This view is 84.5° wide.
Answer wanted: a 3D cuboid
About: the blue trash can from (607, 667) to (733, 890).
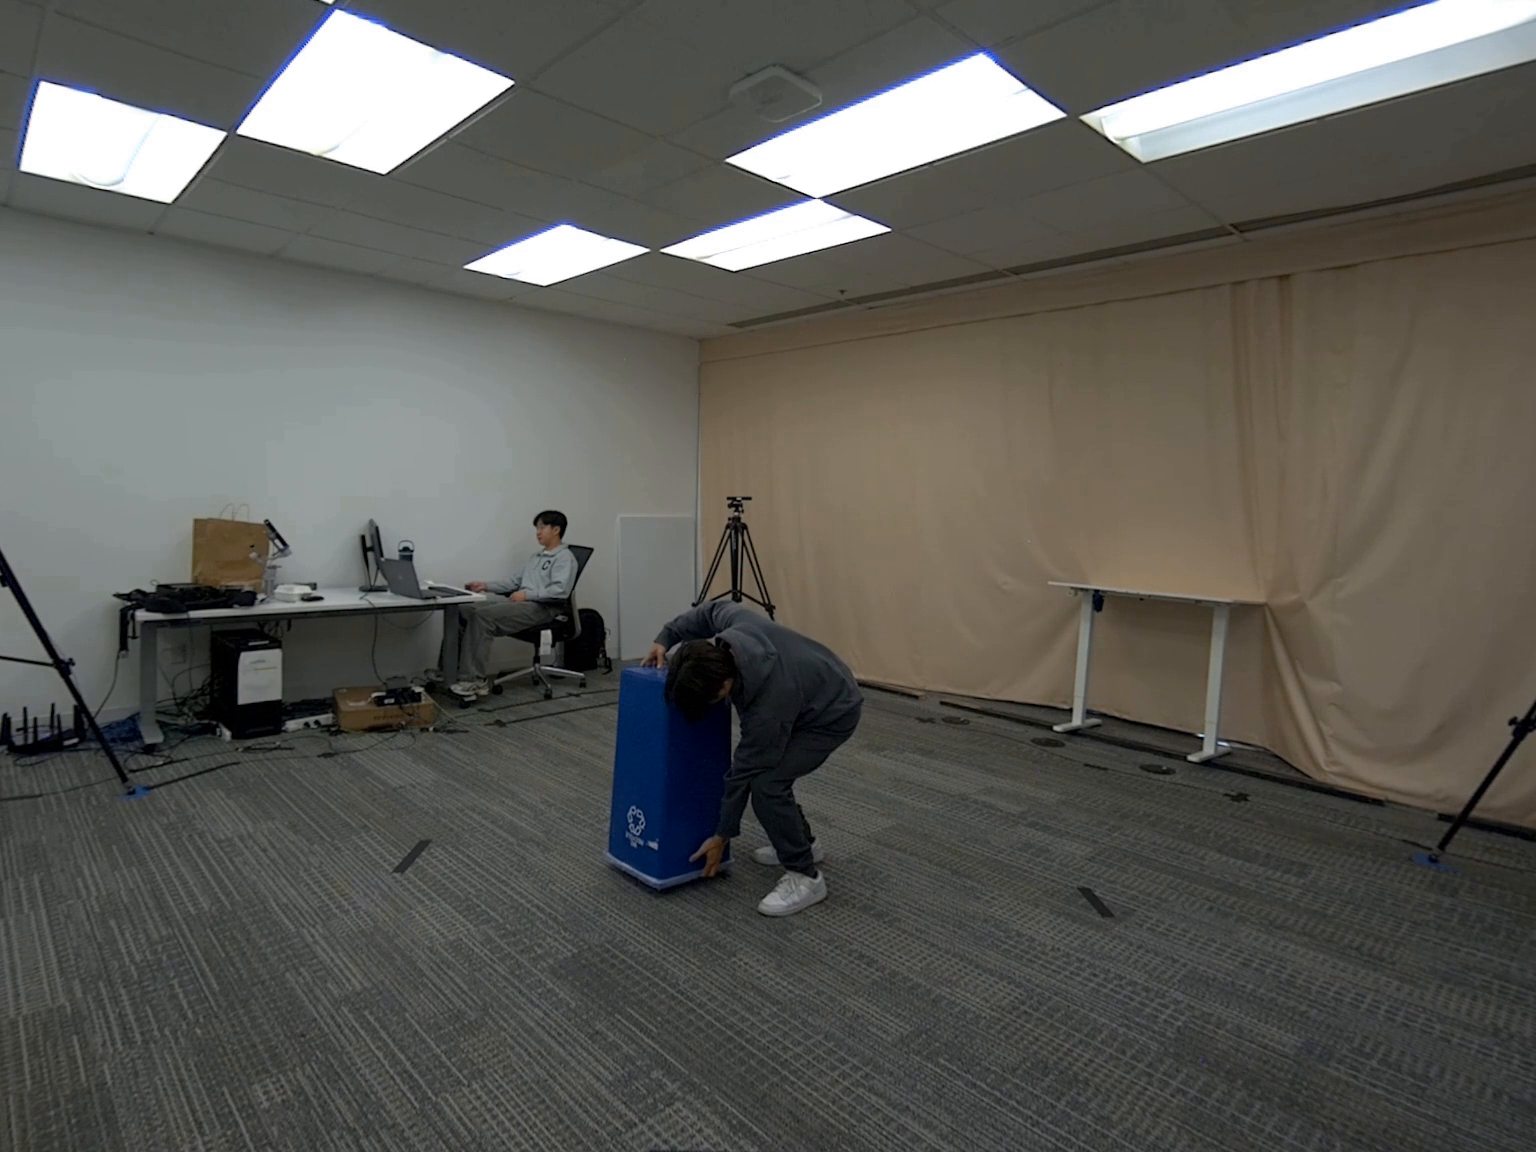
[{"bbox_3d":[-0.361,0.711,3.128,0.369,0.713,0.383,1,1,-43],"label":"blue trash can"}]
